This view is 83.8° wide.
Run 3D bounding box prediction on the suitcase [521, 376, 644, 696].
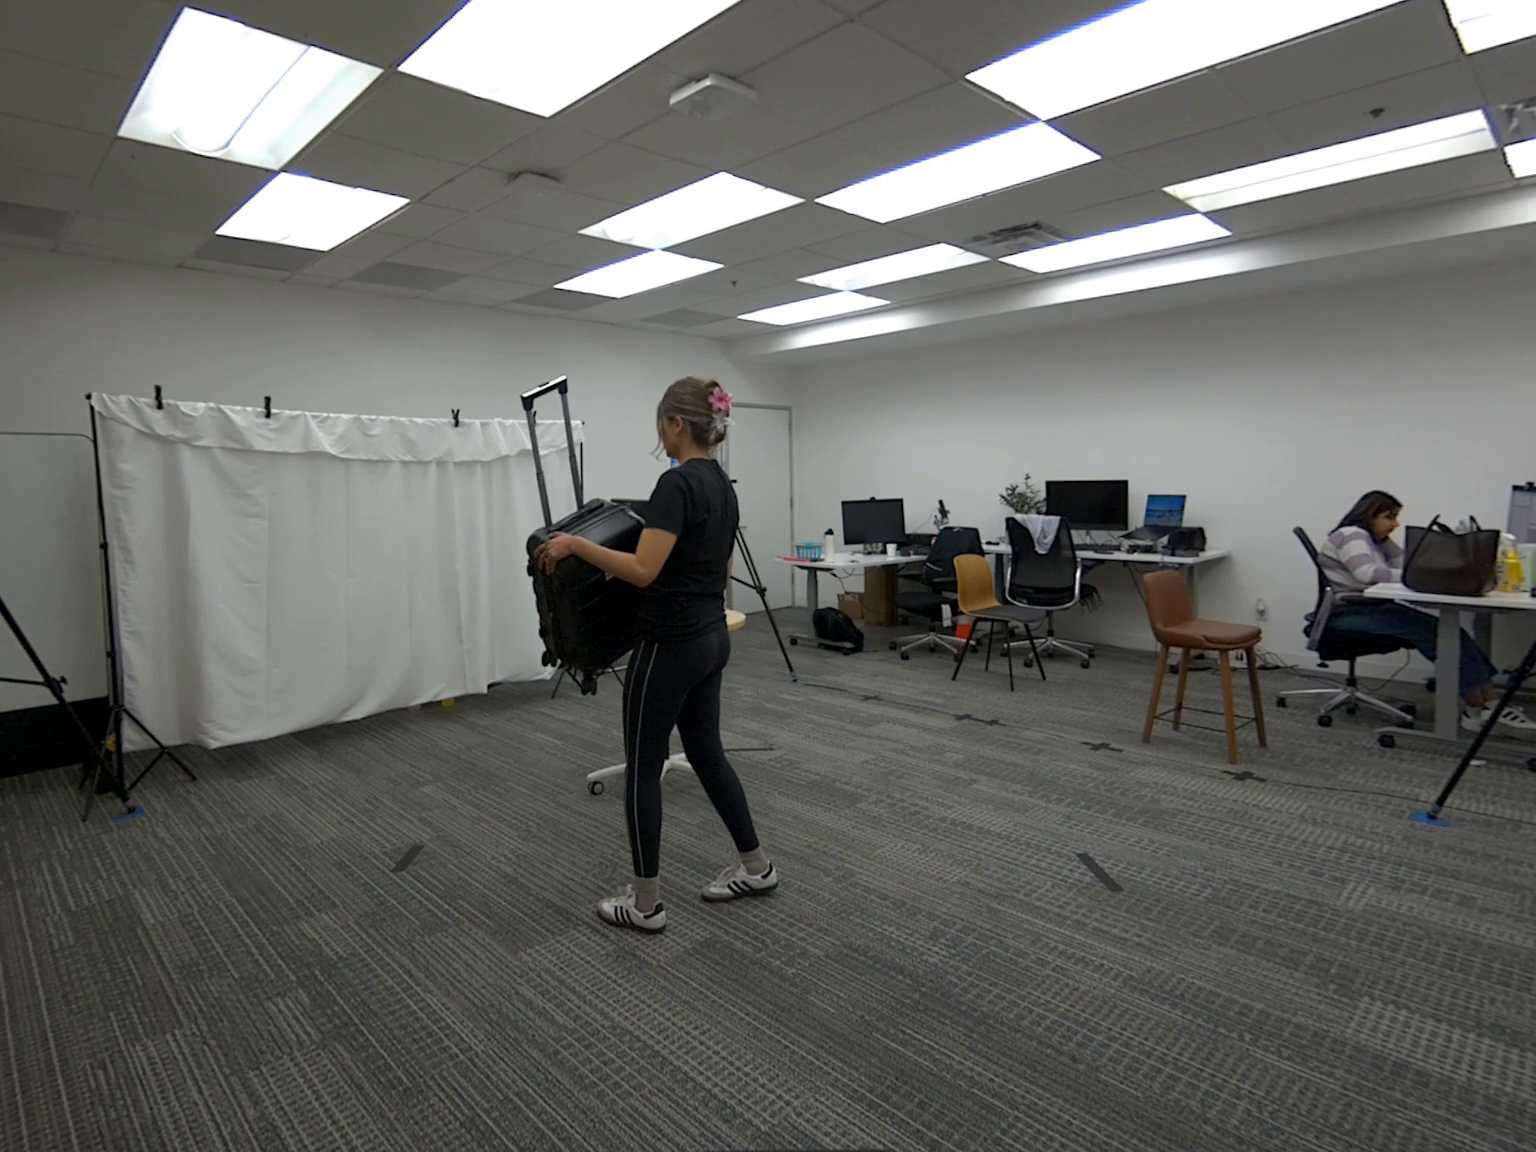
[{"bbox_3d":[-0.564,-0.126,2.695,0.379,0.953,0.267,-29,45,-34],"label":"suitcase"}]
